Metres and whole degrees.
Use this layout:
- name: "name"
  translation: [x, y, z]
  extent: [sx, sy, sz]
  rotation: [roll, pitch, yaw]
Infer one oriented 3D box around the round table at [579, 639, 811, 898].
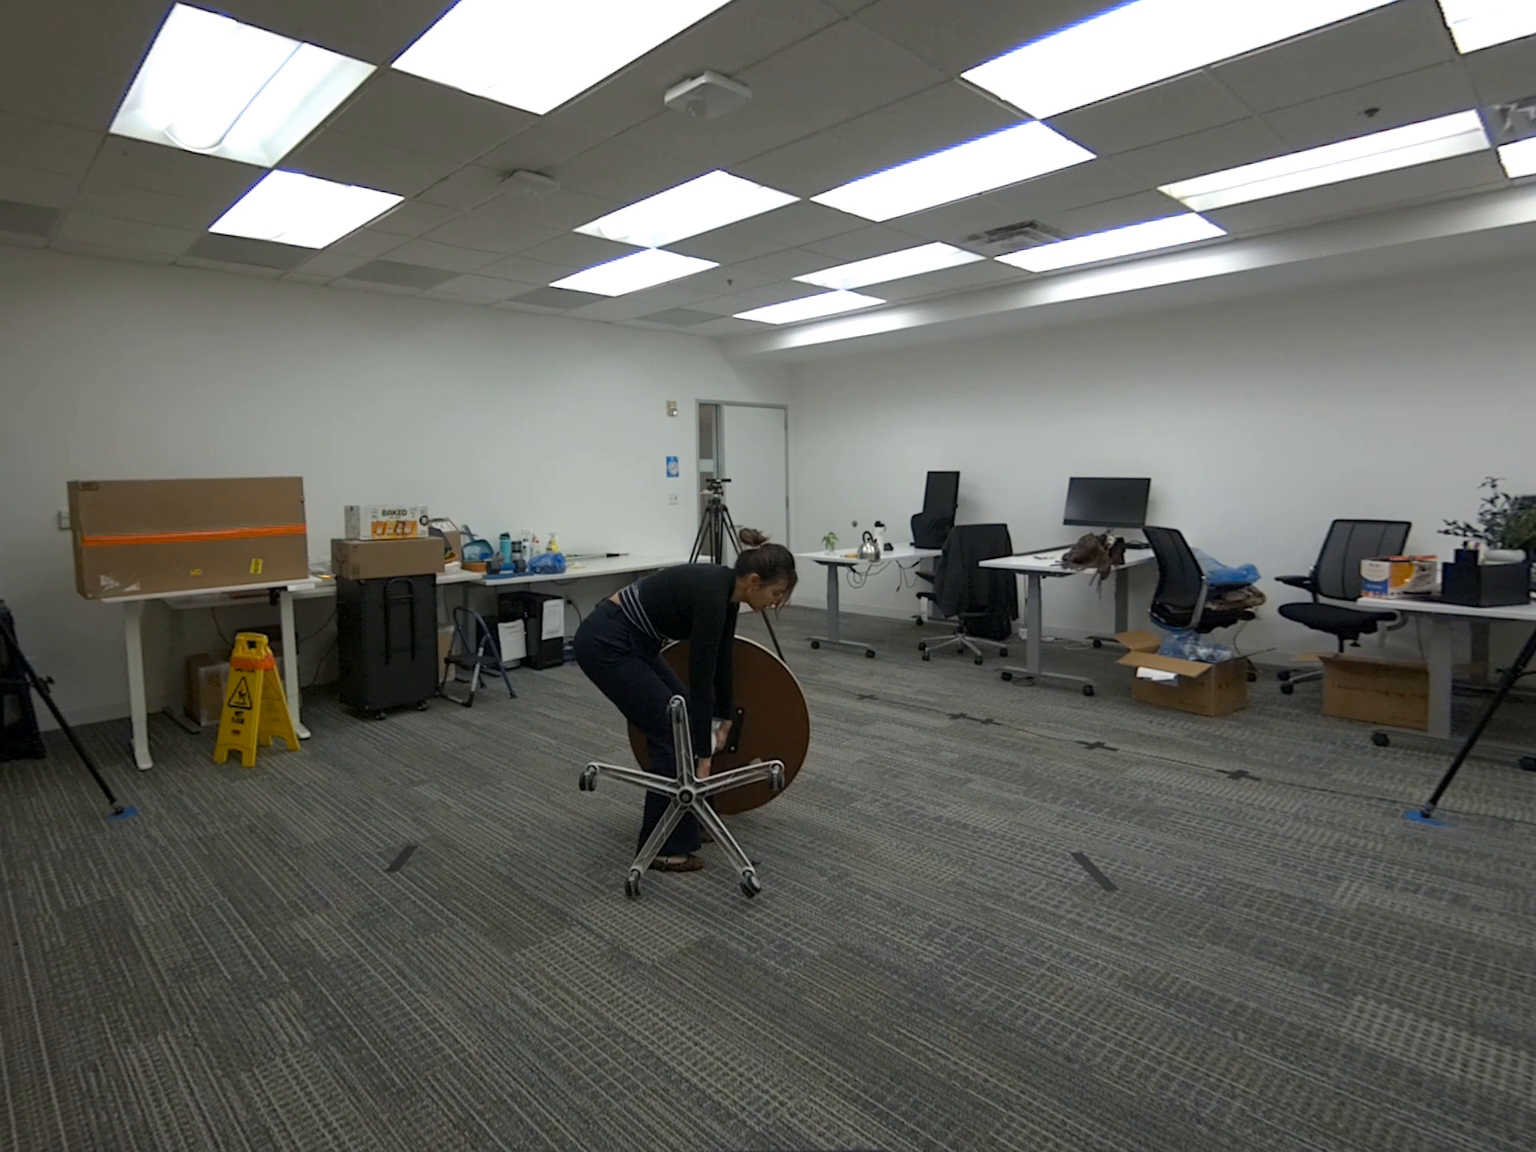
- name: "round table"
  translation: [-0.238, 0.685, 3.144]
  extent: [0.769, 0.758, 0.795]
  rotation: [0, 9, 6]
